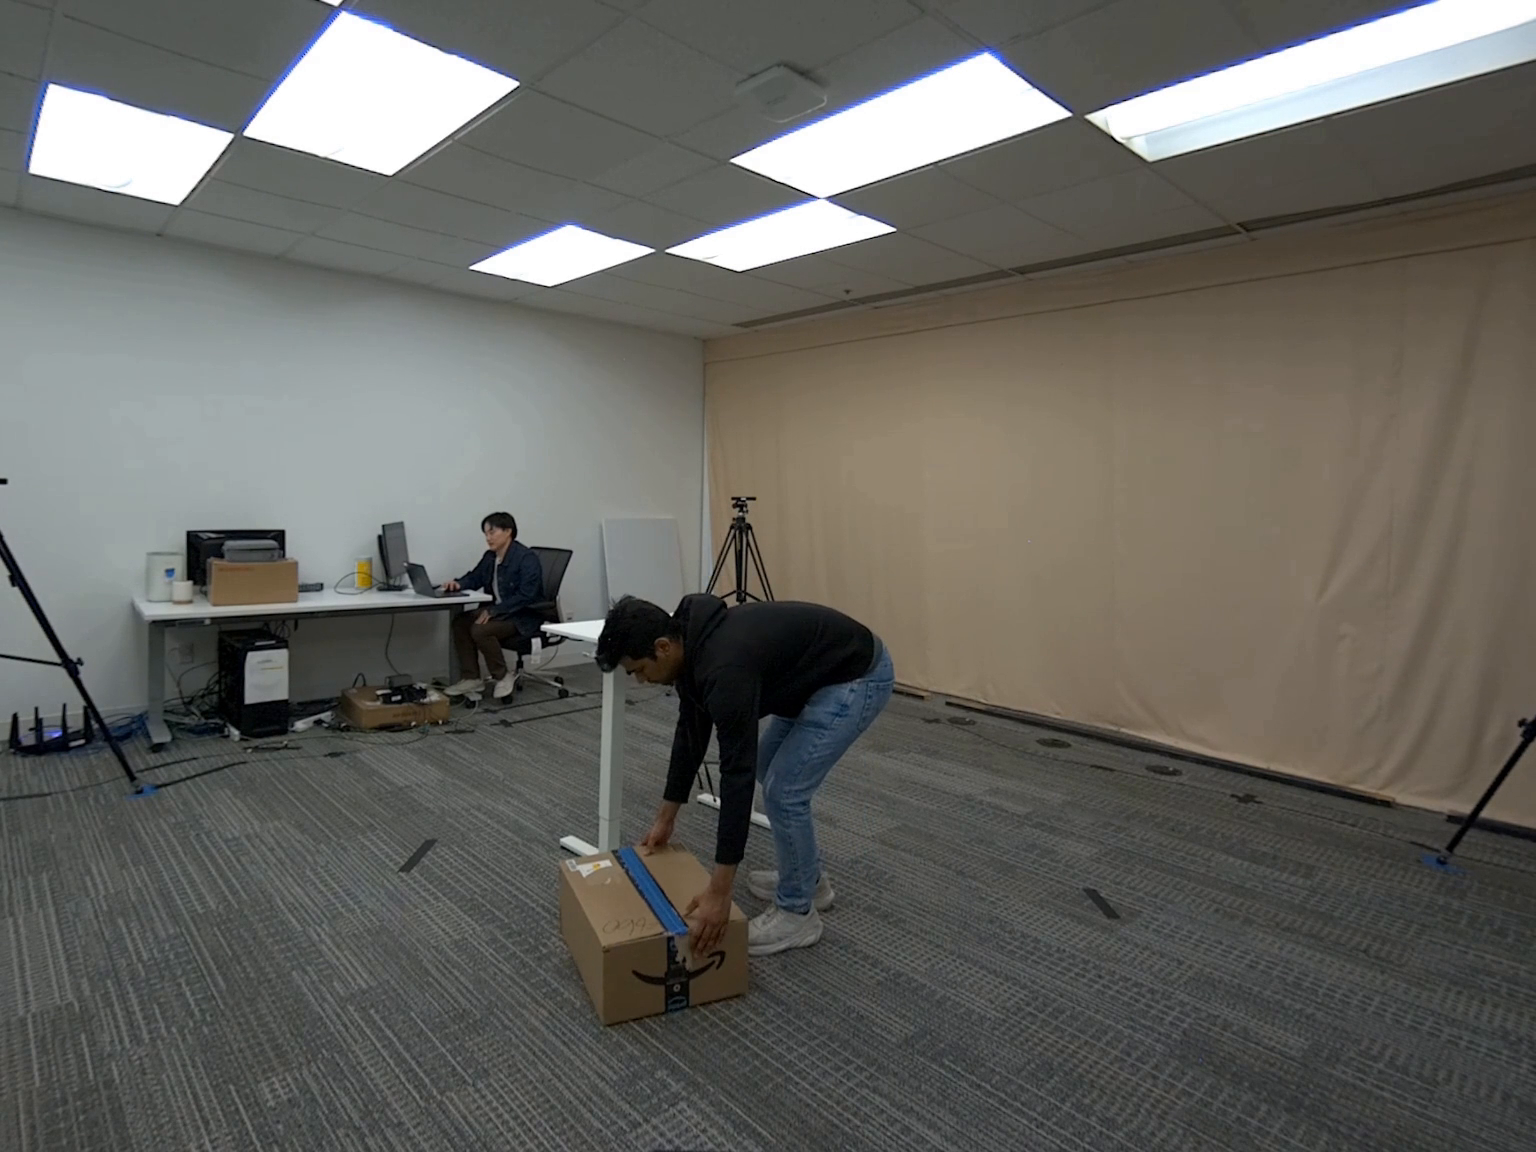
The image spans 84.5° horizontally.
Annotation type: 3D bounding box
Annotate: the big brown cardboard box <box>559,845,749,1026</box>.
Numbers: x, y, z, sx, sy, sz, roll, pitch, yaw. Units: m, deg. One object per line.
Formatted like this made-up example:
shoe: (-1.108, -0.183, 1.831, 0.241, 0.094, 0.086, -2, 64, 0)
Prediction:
big brown cardboard box: (-0.366, 1.028, 2.523, 0.410, 0.232, 0.601, -2, 7, -25)
